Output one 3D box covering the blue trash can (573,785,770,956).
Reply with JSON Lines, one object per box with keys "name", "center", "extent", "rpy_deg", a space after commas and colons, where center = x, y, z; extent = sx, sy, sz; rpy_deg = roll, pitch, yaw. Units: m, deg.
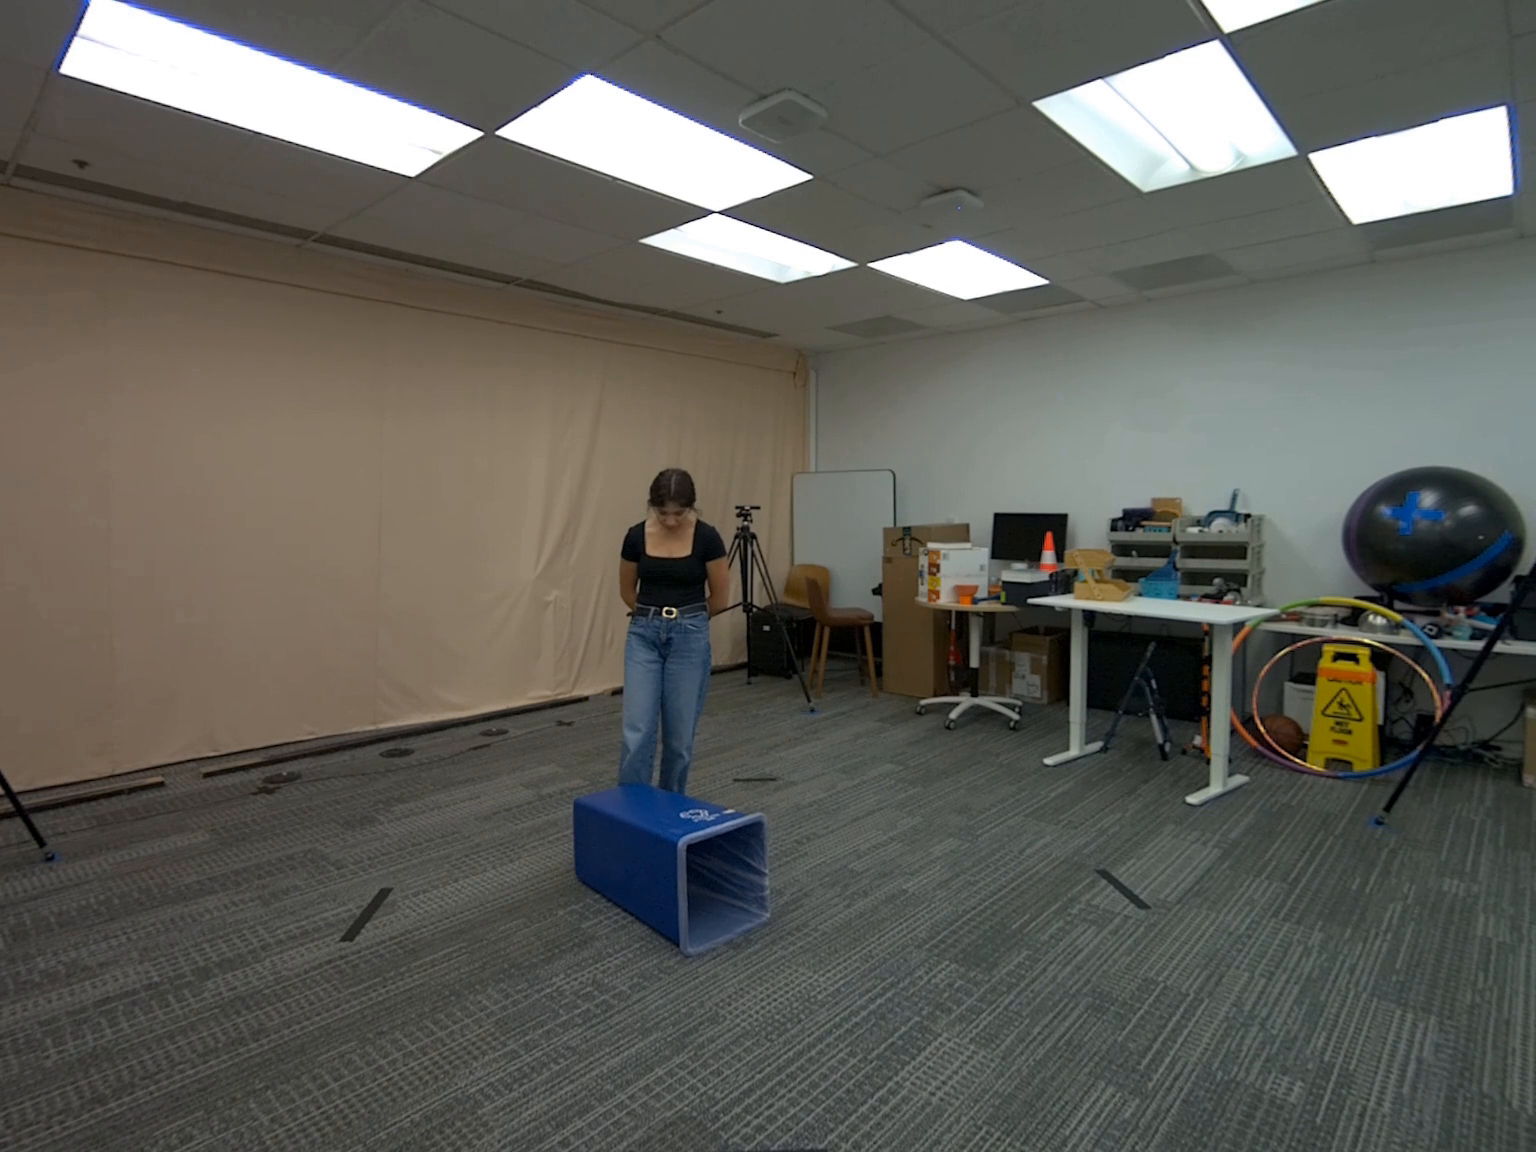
{"name": "blue trash can", "center": [-0.371, 0.981, 2.964], "extent": [0.363, 0.378, 0.736], "rpy_deg": [-4, 2, -42]}
